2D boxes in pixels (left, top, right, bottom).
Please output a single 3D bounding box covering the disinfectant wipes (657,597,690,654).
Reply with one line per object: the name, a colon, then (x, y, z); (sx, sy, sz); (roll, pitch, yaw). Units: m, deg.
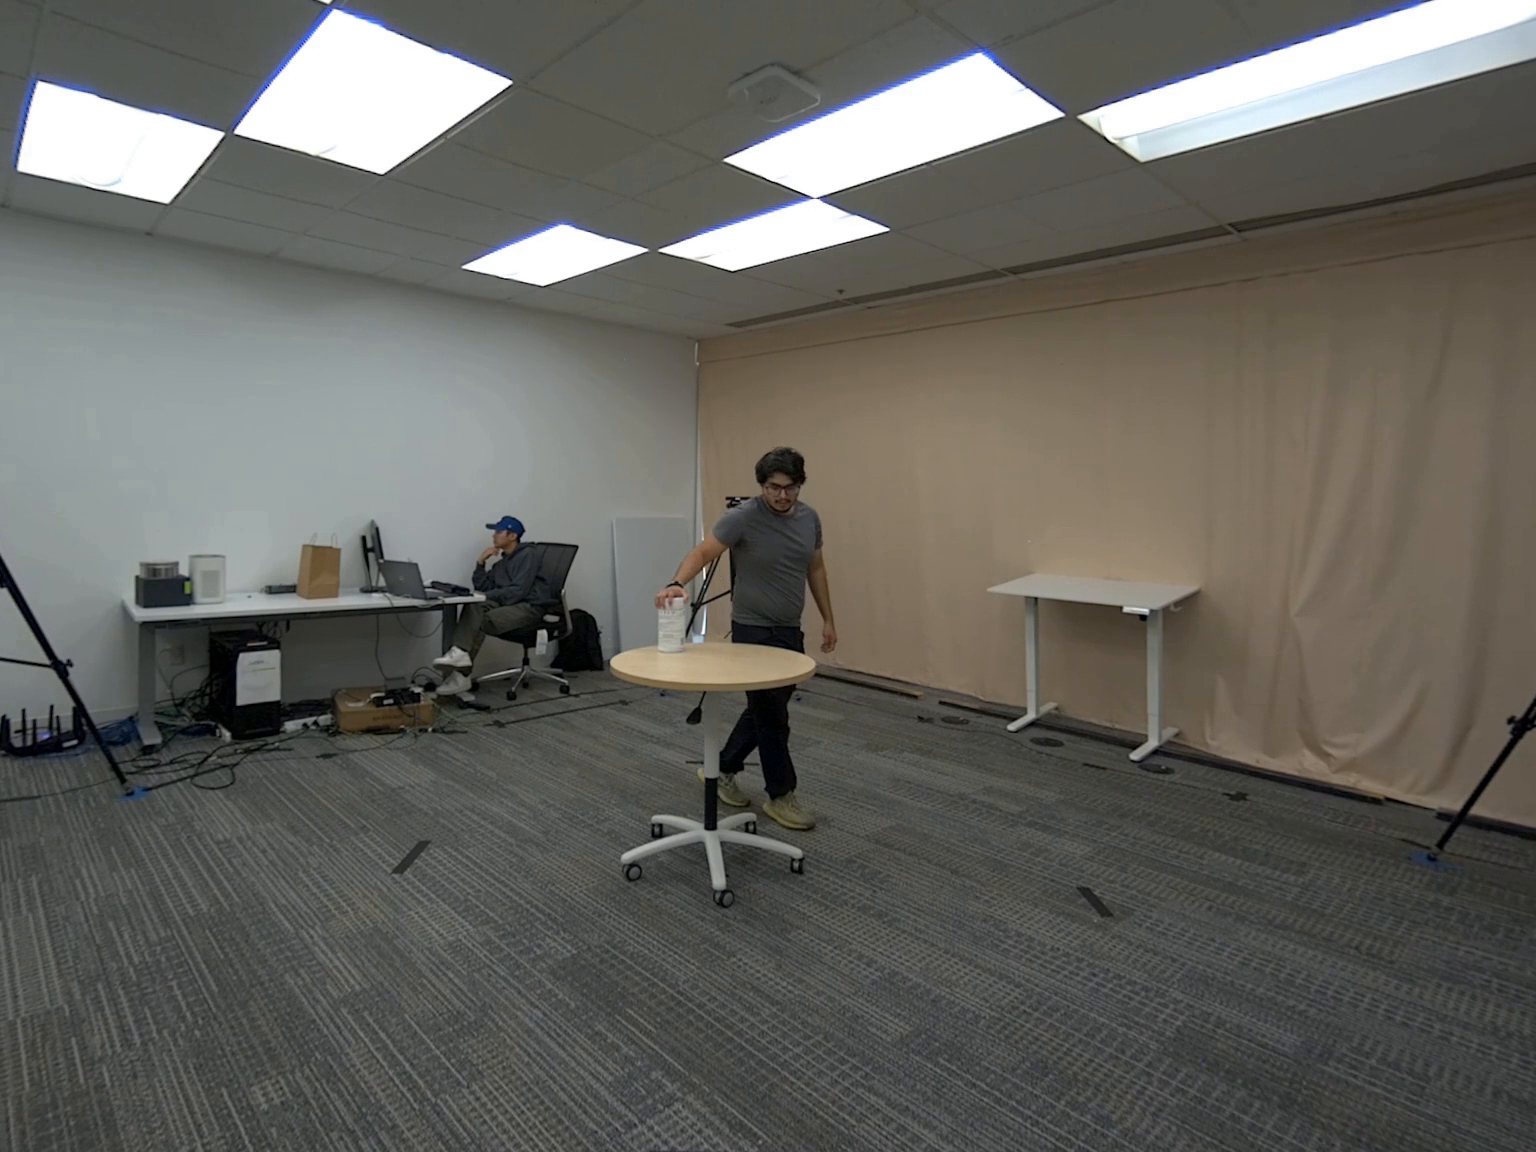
disinfectant wipes: (-0.396, 0.191, 3.346); (0.118, 0.217, 0.118); (0, 4, -1)
